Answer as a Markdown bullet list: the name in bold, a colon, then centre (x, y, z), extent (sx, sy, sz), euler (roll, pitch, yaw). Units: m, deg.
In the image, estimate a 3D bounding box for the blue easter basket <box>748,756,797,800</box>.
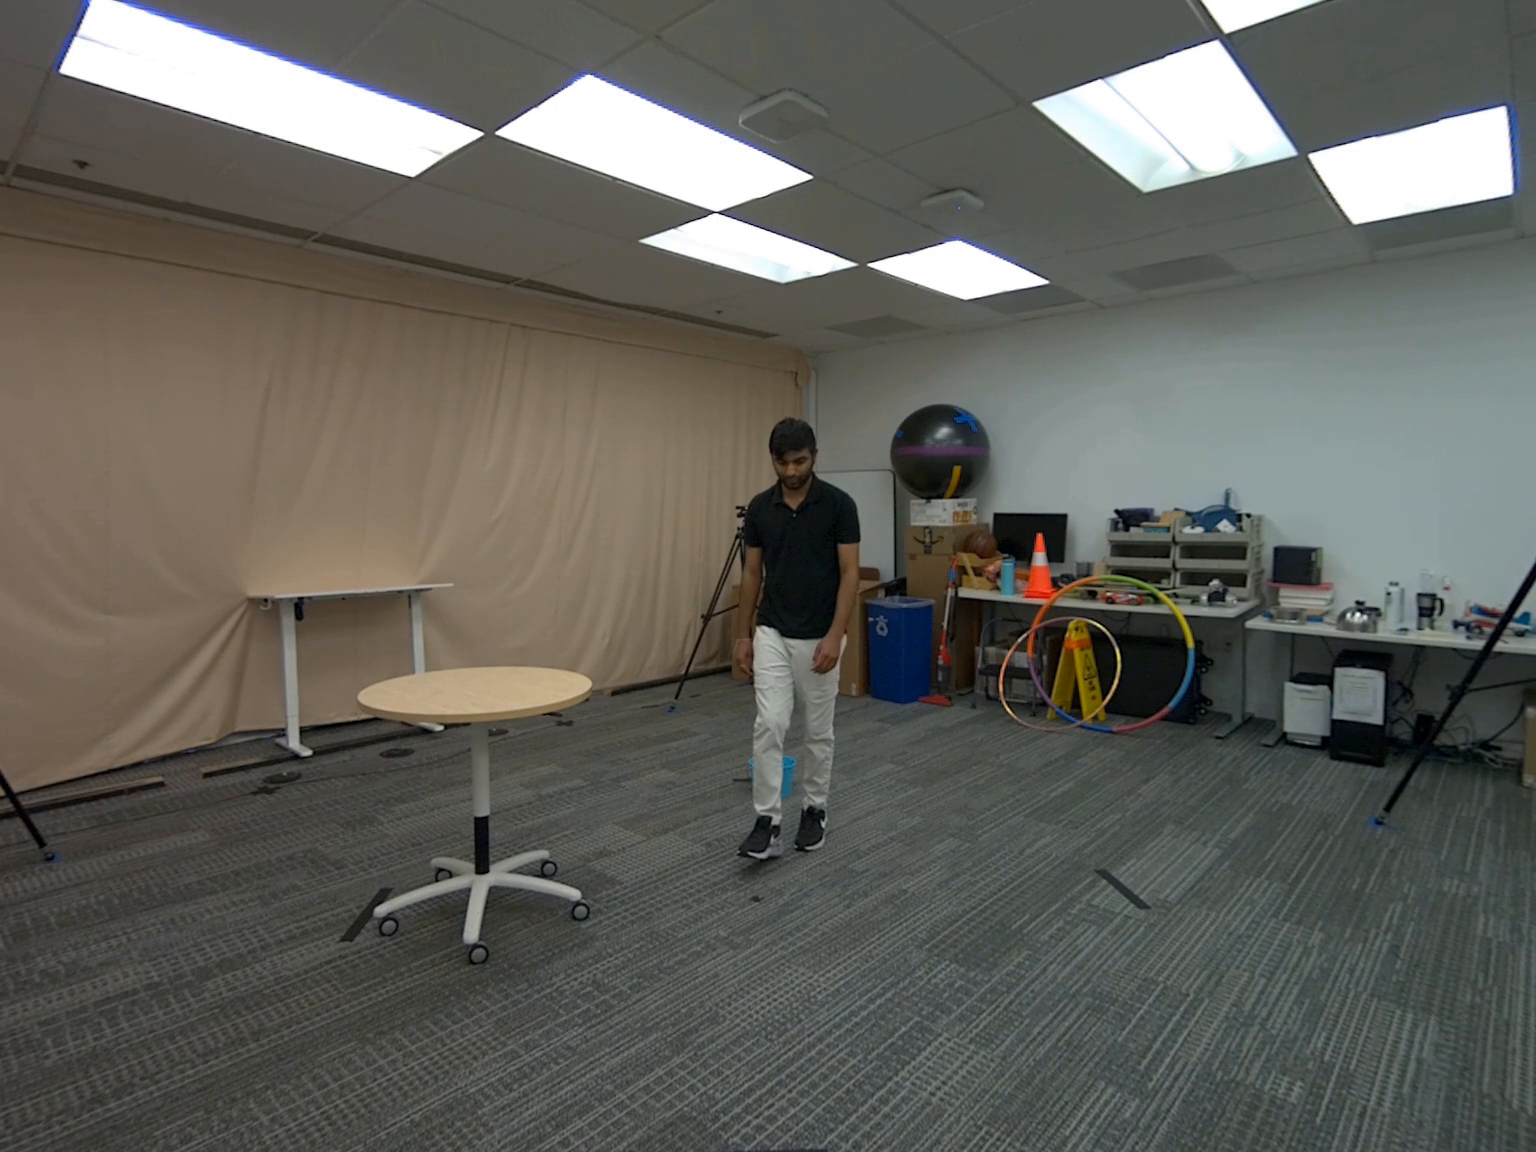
- **blue easter basket**: centre (0.026, 0.972, 4.114), extent (0.243, 0.155, 0.244), euler (0, 4, -2)
